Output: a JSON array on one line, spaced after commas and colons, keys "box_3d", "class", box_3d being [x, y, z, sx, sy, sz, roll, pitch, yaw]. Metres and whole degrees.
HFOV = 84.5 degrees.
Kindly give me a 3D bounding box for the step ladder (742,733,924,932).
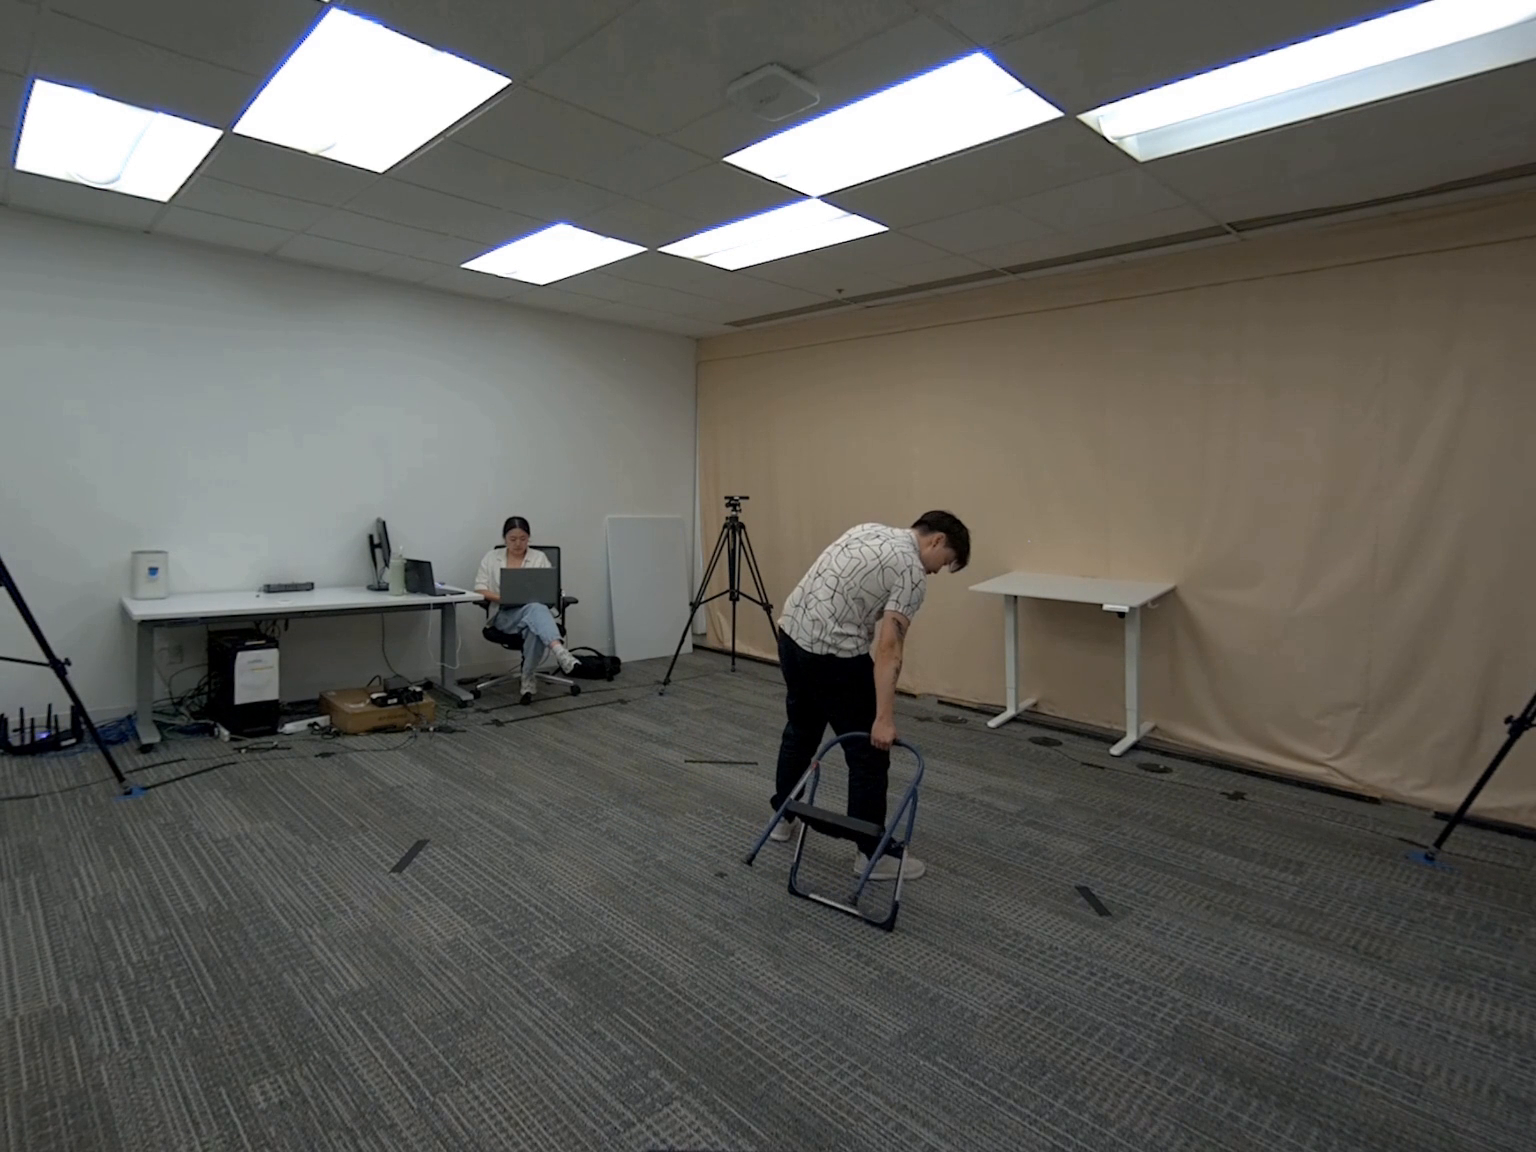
[{"box_3d": [0.265, 0.800, 2.862, 0.441, 0.610, 0.338, 5, -31, 37], "class": "step ladder"}]
